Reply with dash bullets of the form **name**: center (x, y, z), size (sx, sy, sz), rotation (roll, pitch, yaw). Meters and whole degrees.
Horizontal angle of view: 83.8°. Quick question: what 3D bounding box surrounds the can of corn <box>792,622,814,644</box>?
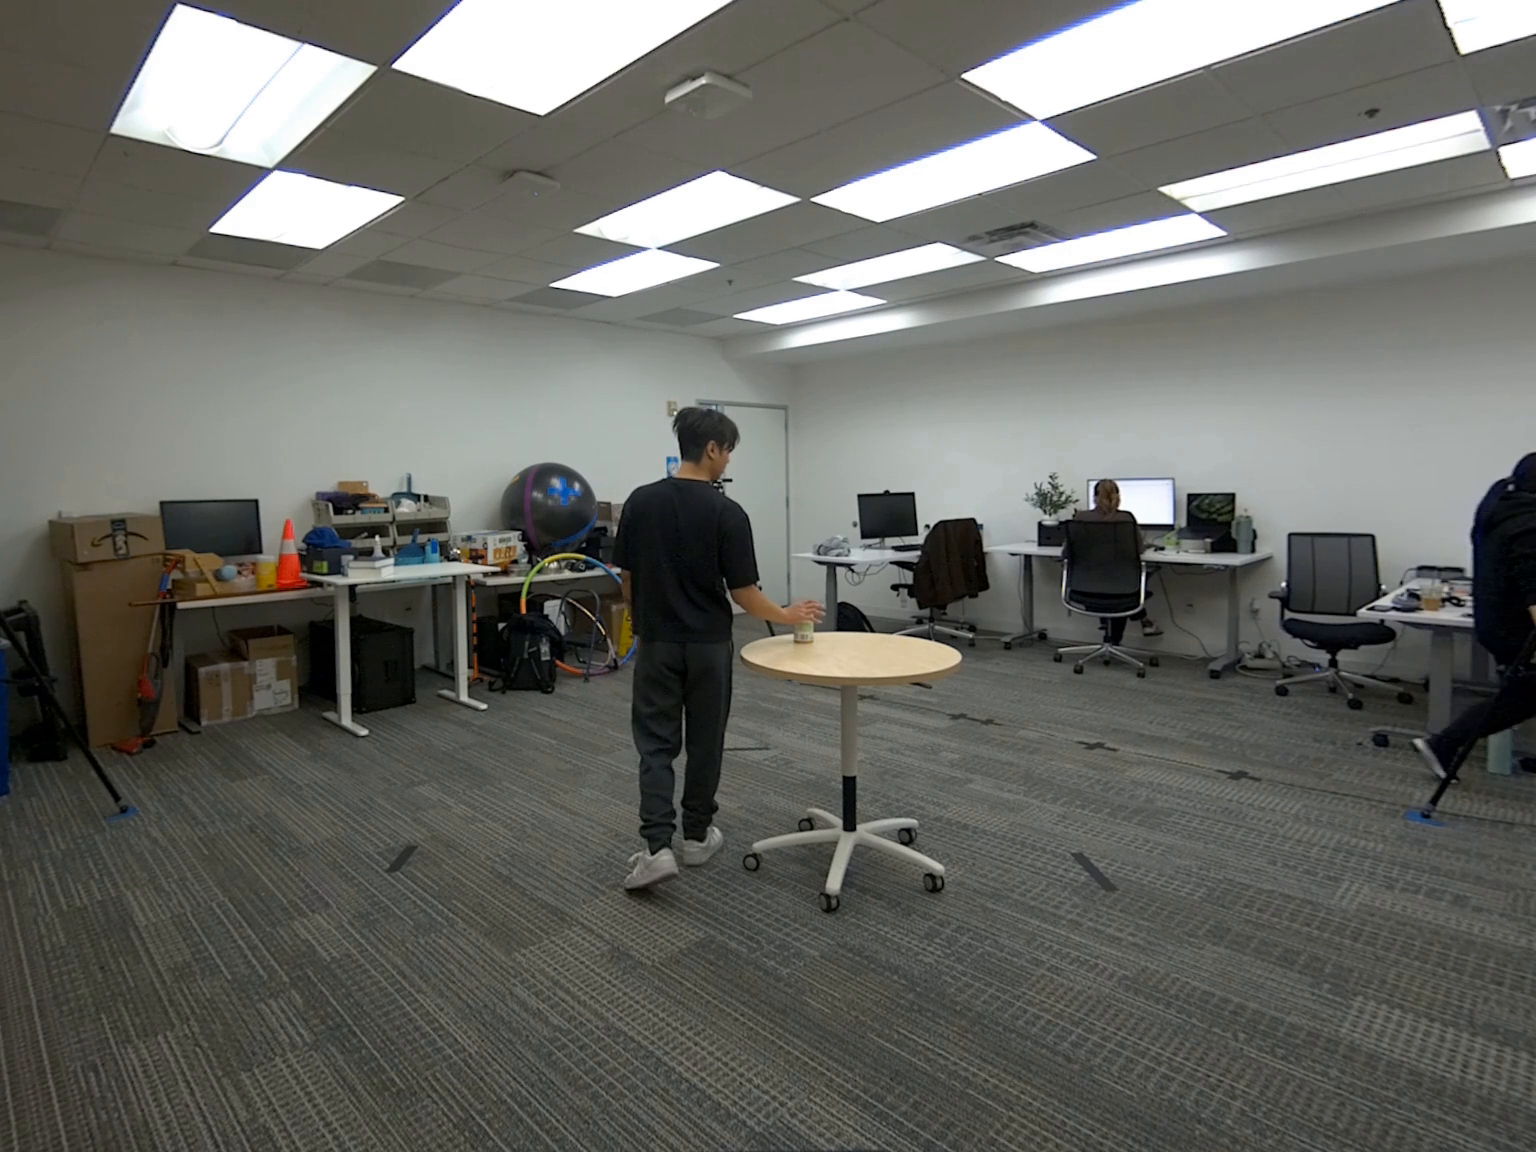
- **can of corn**: center (0.135, 0.191, 3.190), size (0.074, 0.111, 0.074), rotation (0, 3, -2)
